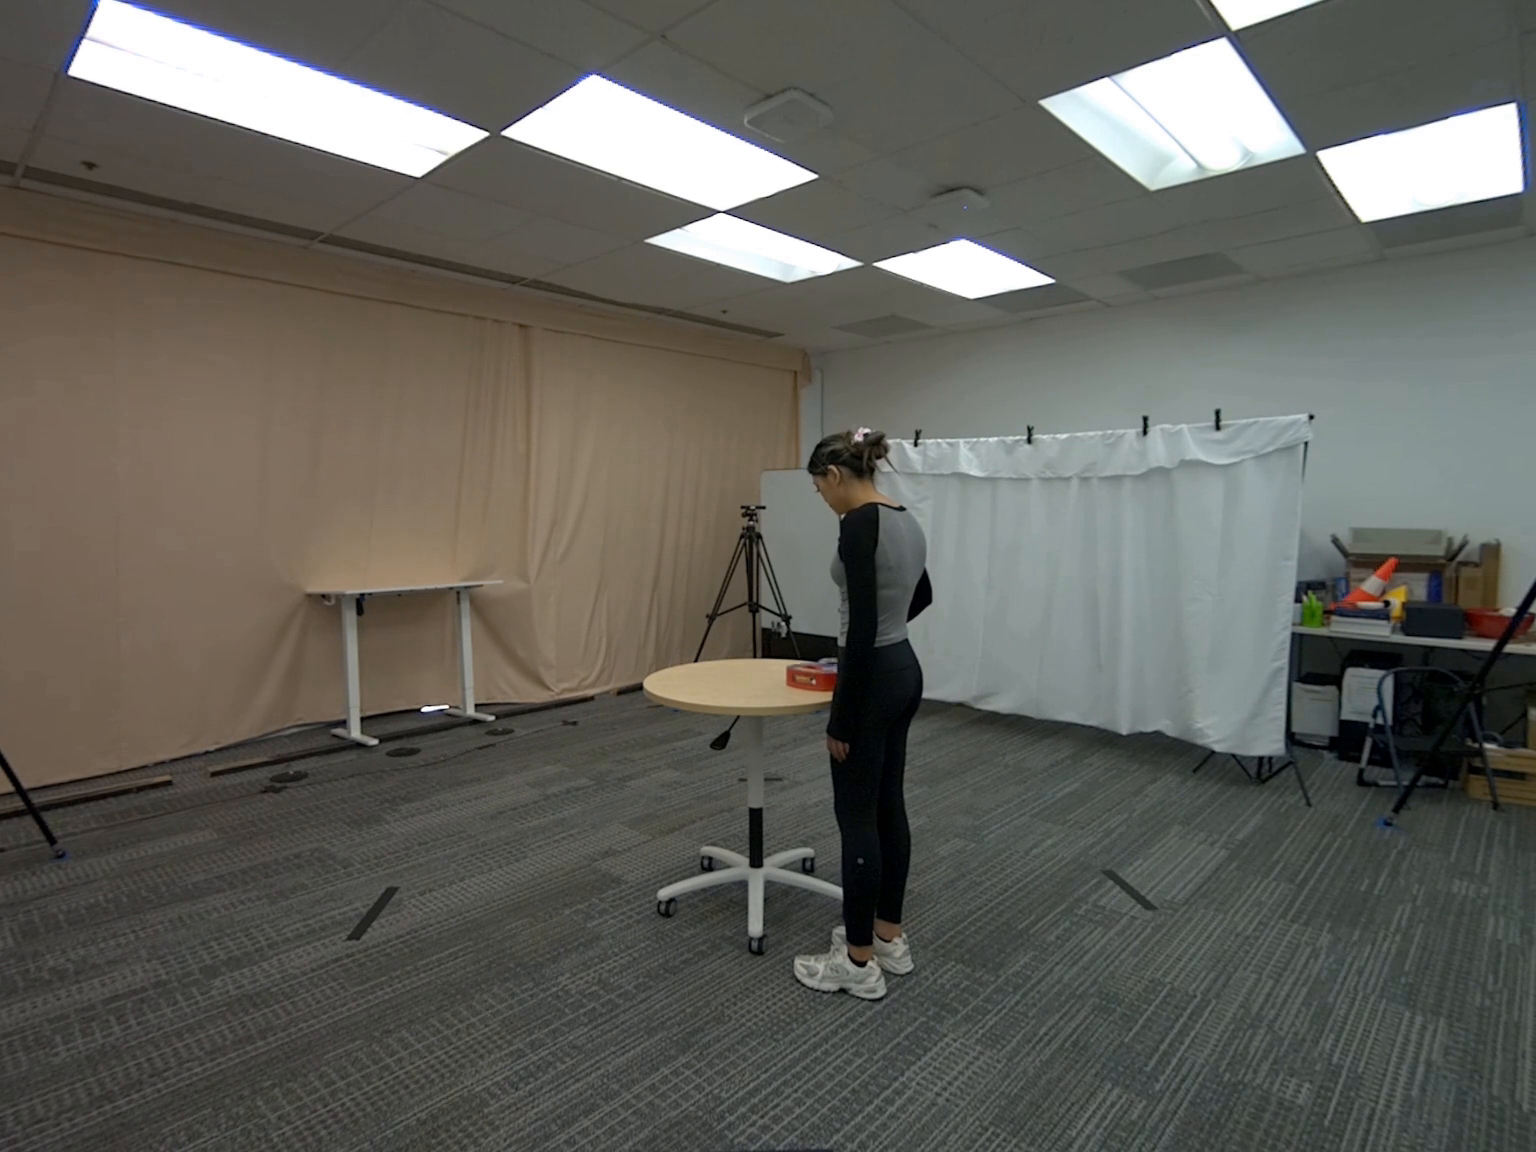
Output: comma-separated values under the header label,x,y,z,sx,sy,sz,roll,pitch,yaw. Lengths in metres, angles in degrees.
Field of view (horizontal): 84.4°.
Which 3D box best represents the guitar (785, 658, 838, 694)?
label,x,y,z,sx,sy,sz,roll,pitch,yaw
guitar,0.291,0.323,2.898,0.483,0.070,0.199,-5,7,-39
